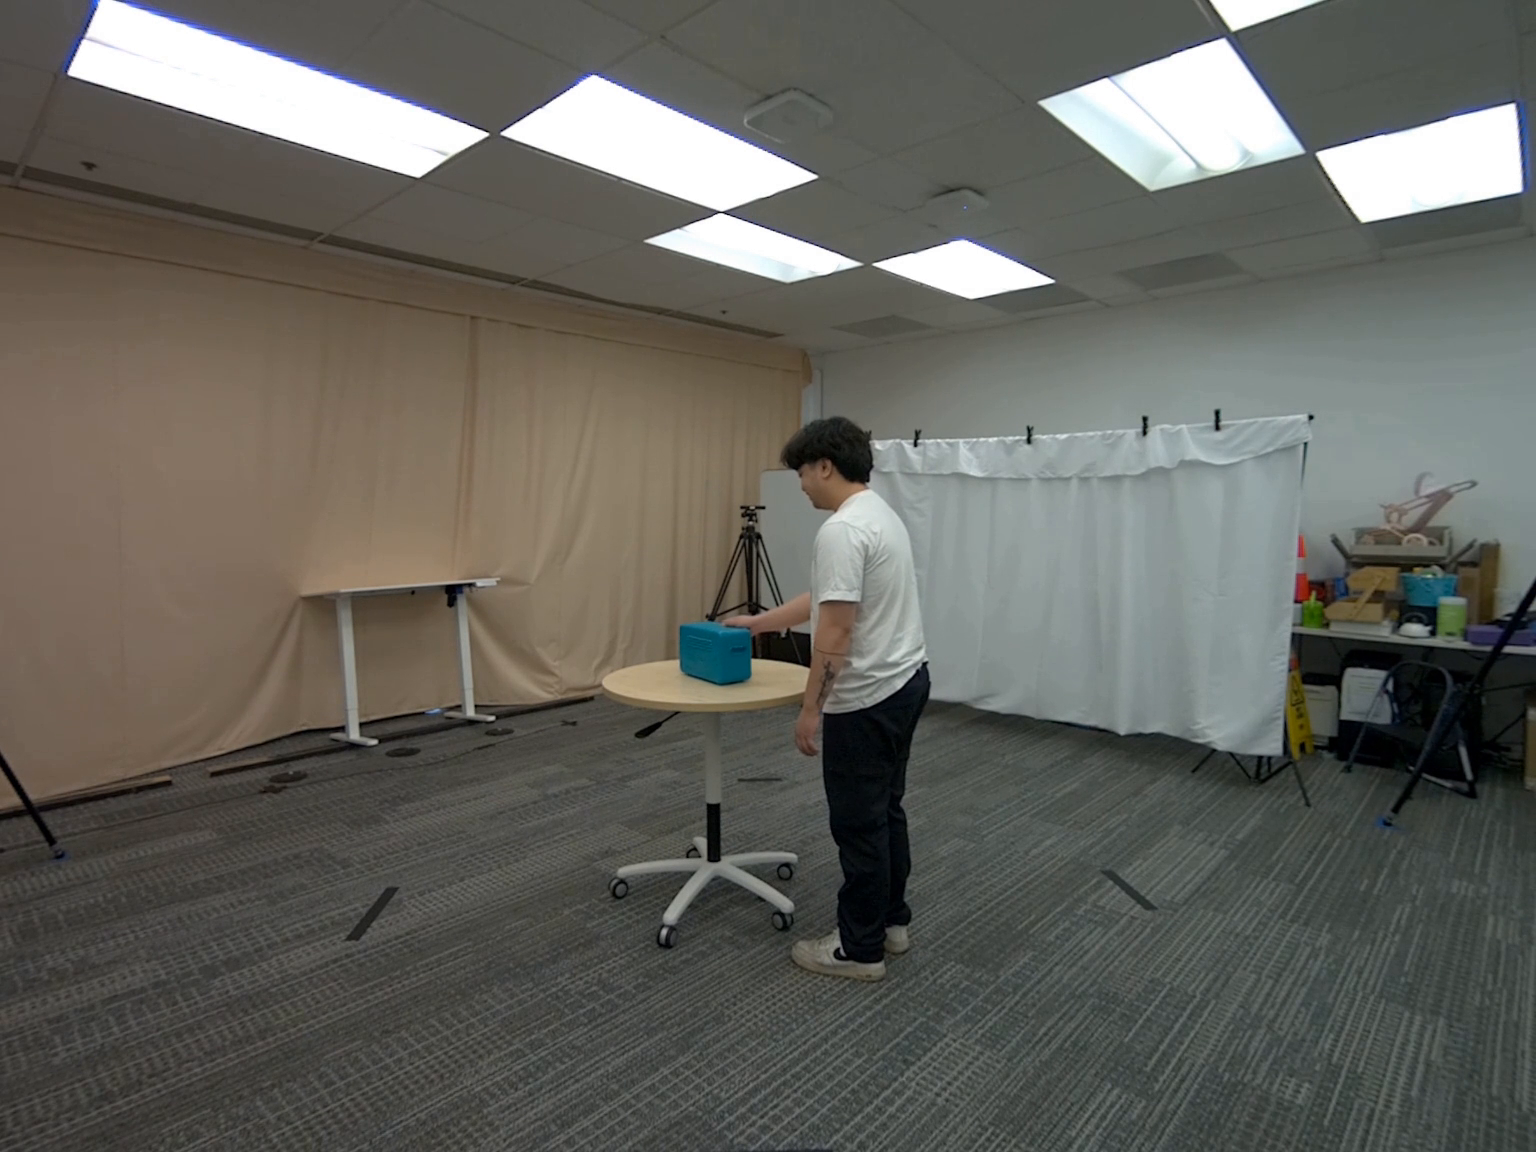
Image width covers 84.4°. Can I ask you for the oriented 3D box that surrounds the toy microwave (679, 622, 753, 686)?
[{"bbox_3d":[-0.178,0.265,2.944,0.148,0.184,0.295,-3,4,-34],"label":"toy microwave"}]
